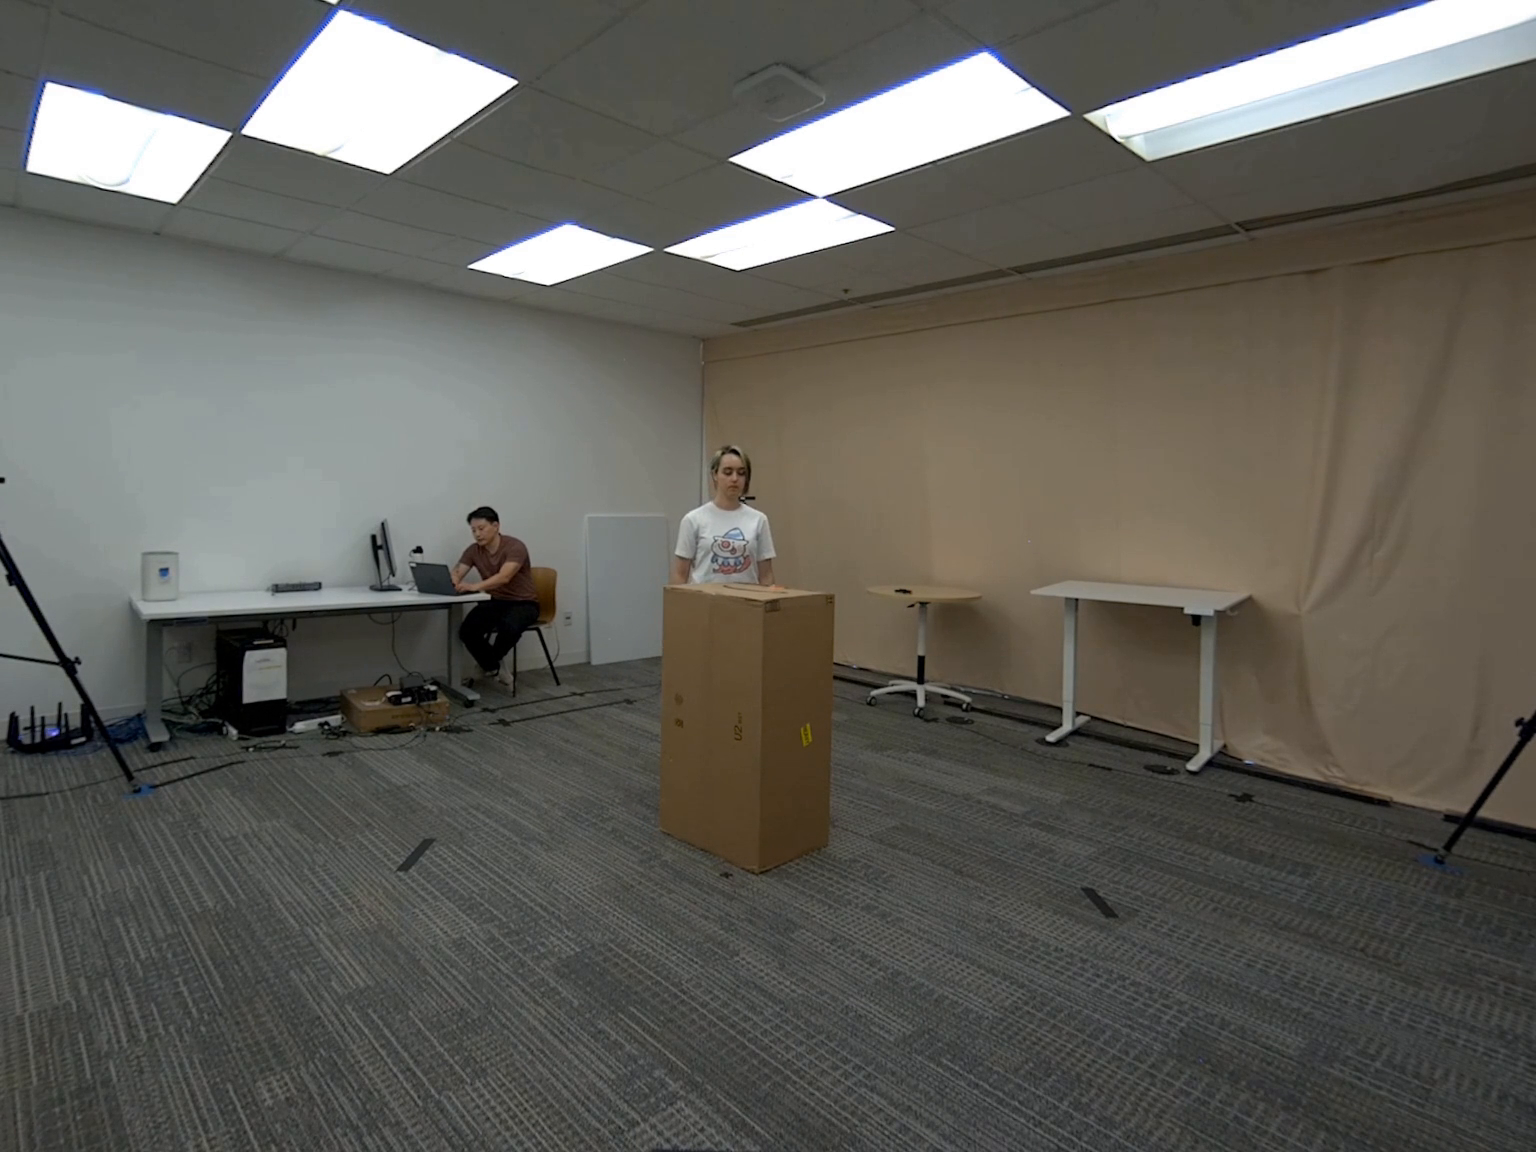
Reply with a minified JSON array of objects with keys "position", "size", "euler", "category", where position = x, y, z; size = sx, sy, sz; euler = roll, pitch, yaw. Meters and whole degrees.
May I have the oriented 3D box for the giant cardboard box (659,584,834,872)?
[{"position":[-0.097,0.570,3.439],"size":[0.599,1.024,0.437],"euler":[4,5,43],"category":"giant cardboard box"}]
